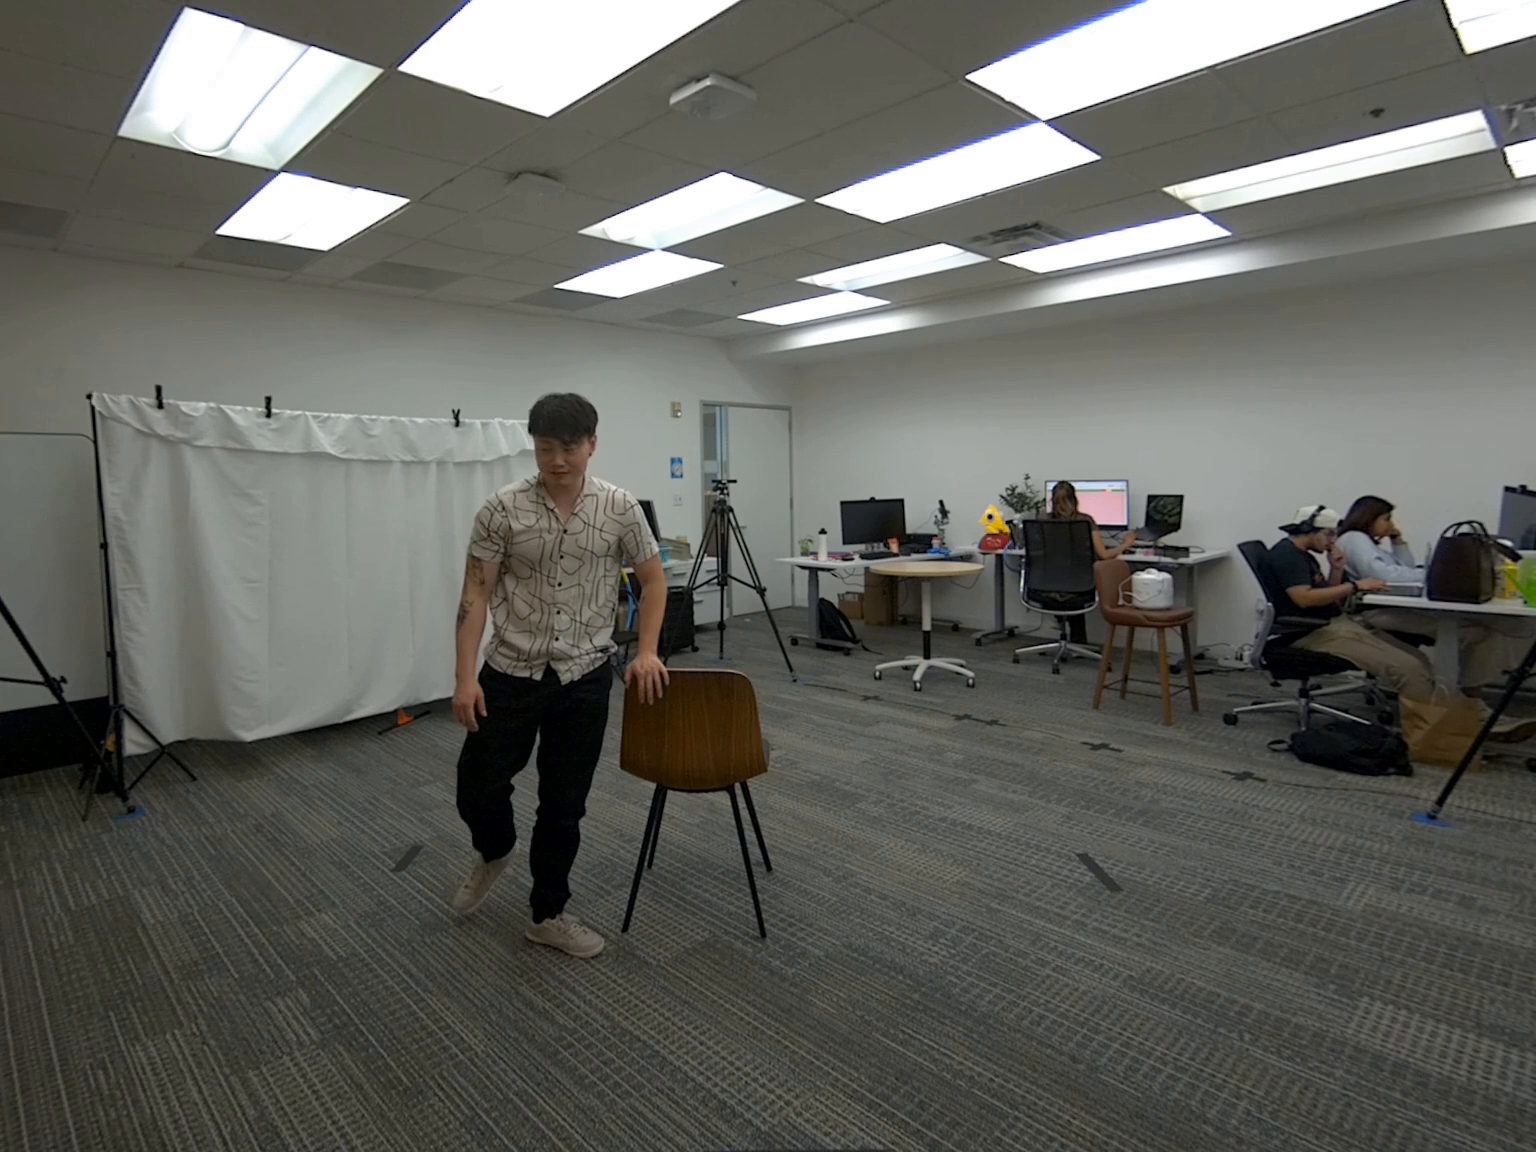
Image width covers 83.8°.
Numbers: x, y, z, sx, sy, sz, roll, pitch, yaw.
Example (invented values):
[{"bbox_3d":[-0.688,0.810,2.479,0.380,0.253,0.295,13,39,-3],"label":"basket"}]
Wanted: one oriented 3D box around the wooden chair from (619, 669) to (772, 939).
[{"bbox_3d":[-0.225,0.657,2.827,0.480,0.870,0.525,-1,9,3],"label":"wooden chair"}]
